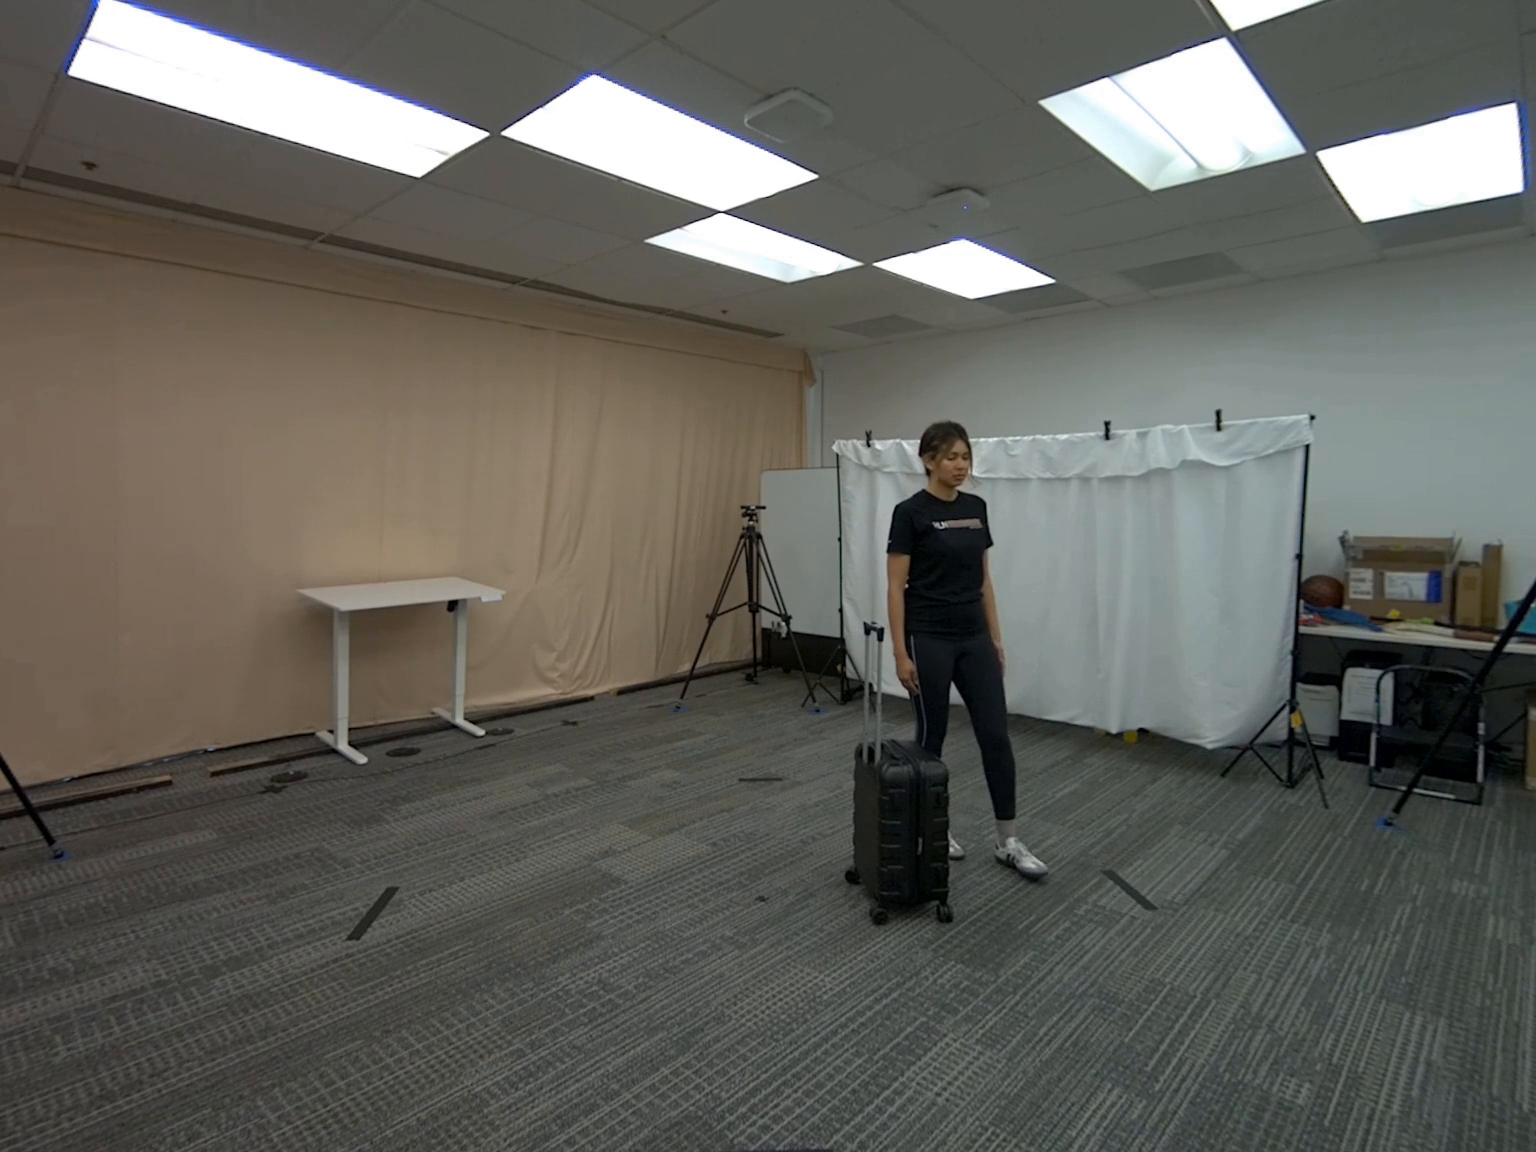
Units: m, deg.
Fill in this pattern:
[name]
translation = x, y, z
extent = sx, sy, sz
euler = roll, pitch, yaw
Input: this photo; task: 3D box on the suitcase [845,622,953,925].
[suitcase]
translation = 0.474, 0.671, 2.945
extent = 0.255, 0.976, 0.388
euler = 2, 3, -9
